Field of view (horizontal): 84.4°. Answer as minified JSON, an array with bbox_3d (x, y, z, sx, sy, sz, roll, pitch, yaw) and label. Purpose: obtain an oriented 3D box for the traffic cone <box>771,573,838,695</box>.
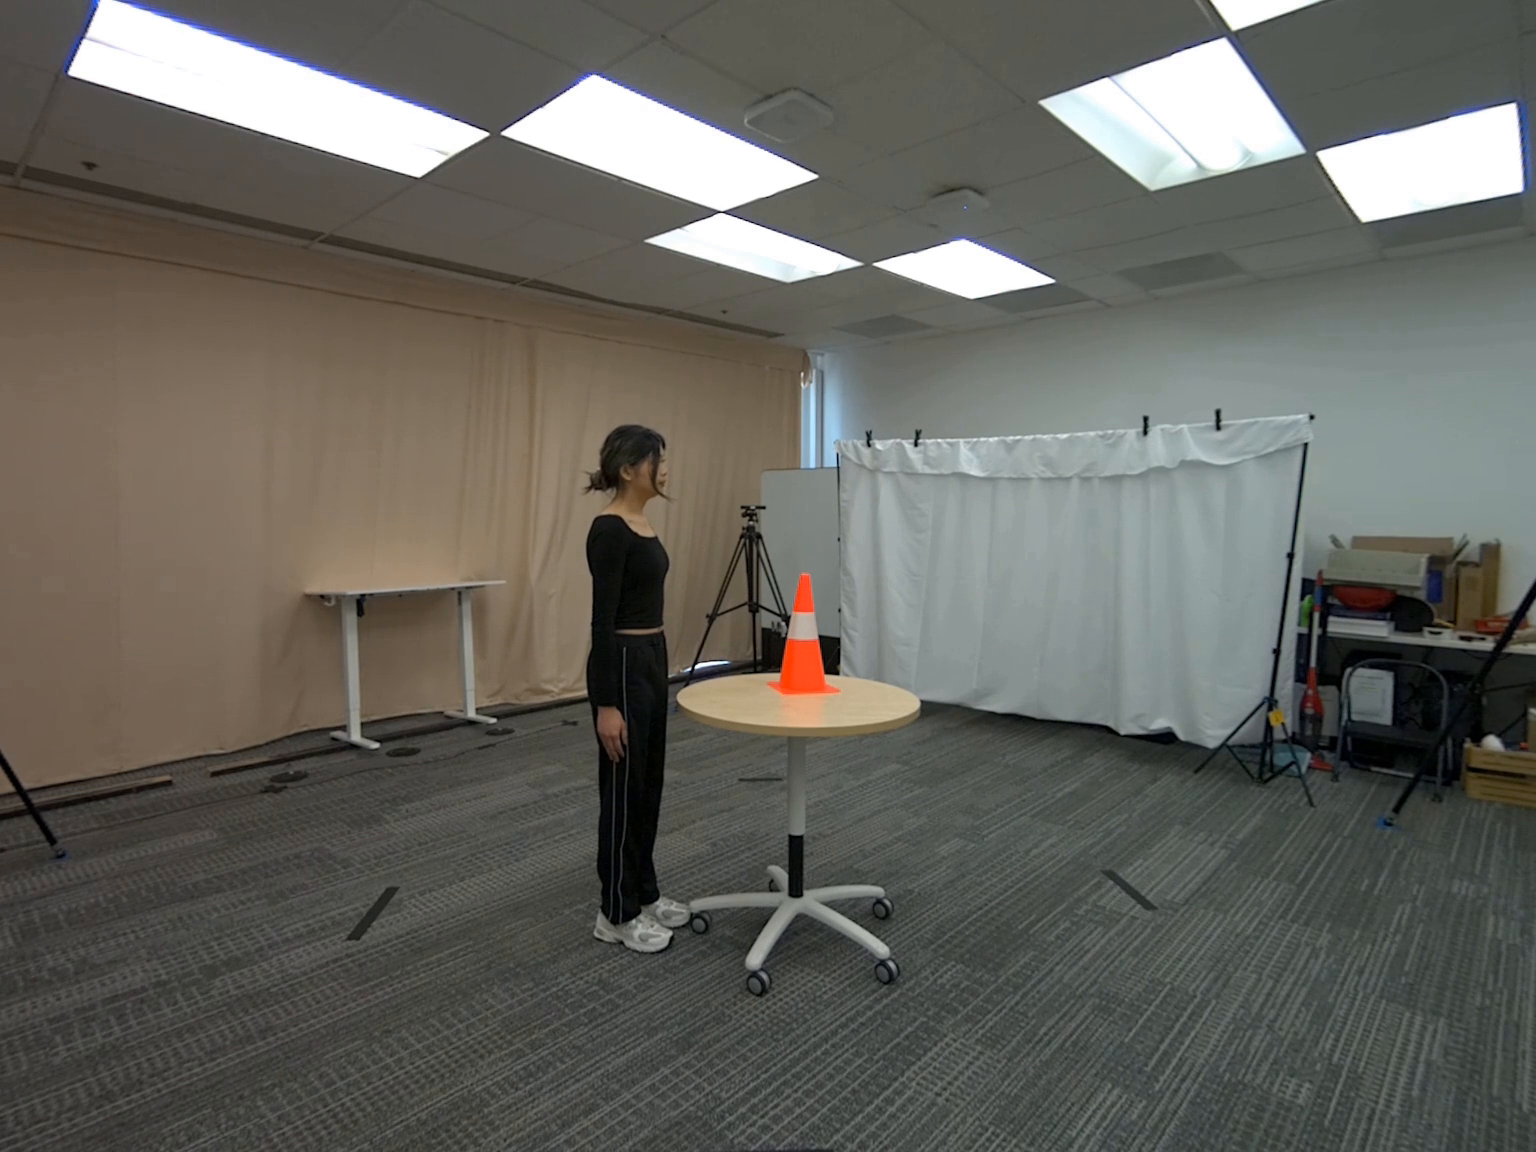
[{"bbox_3d":[0.120,0.189,2.797,0.200,0.383,0.208,1,3,-14],"label":"traffic cone"}]
